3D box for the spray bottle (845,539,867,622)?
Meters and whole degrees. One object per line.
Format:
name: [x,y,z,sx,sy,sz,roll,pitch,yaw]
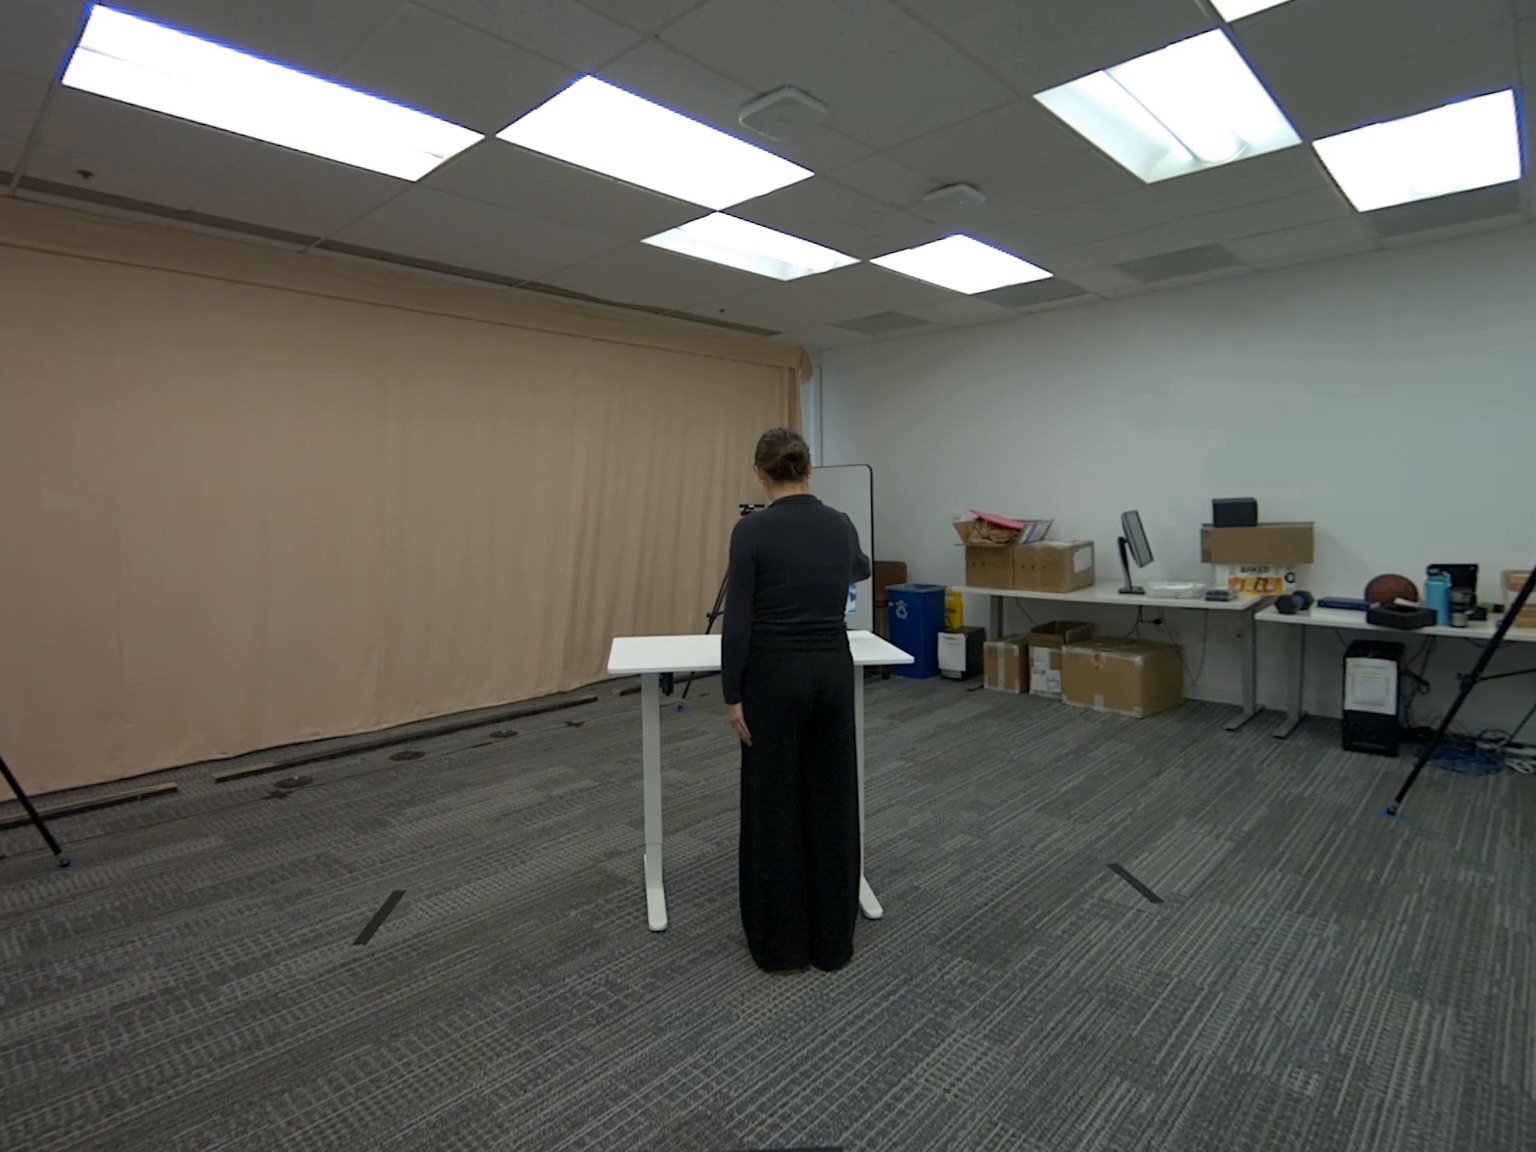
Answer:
spray bottle: [0.312,0.012,3.135,0.088,0.296,0.089,1,4,11]
